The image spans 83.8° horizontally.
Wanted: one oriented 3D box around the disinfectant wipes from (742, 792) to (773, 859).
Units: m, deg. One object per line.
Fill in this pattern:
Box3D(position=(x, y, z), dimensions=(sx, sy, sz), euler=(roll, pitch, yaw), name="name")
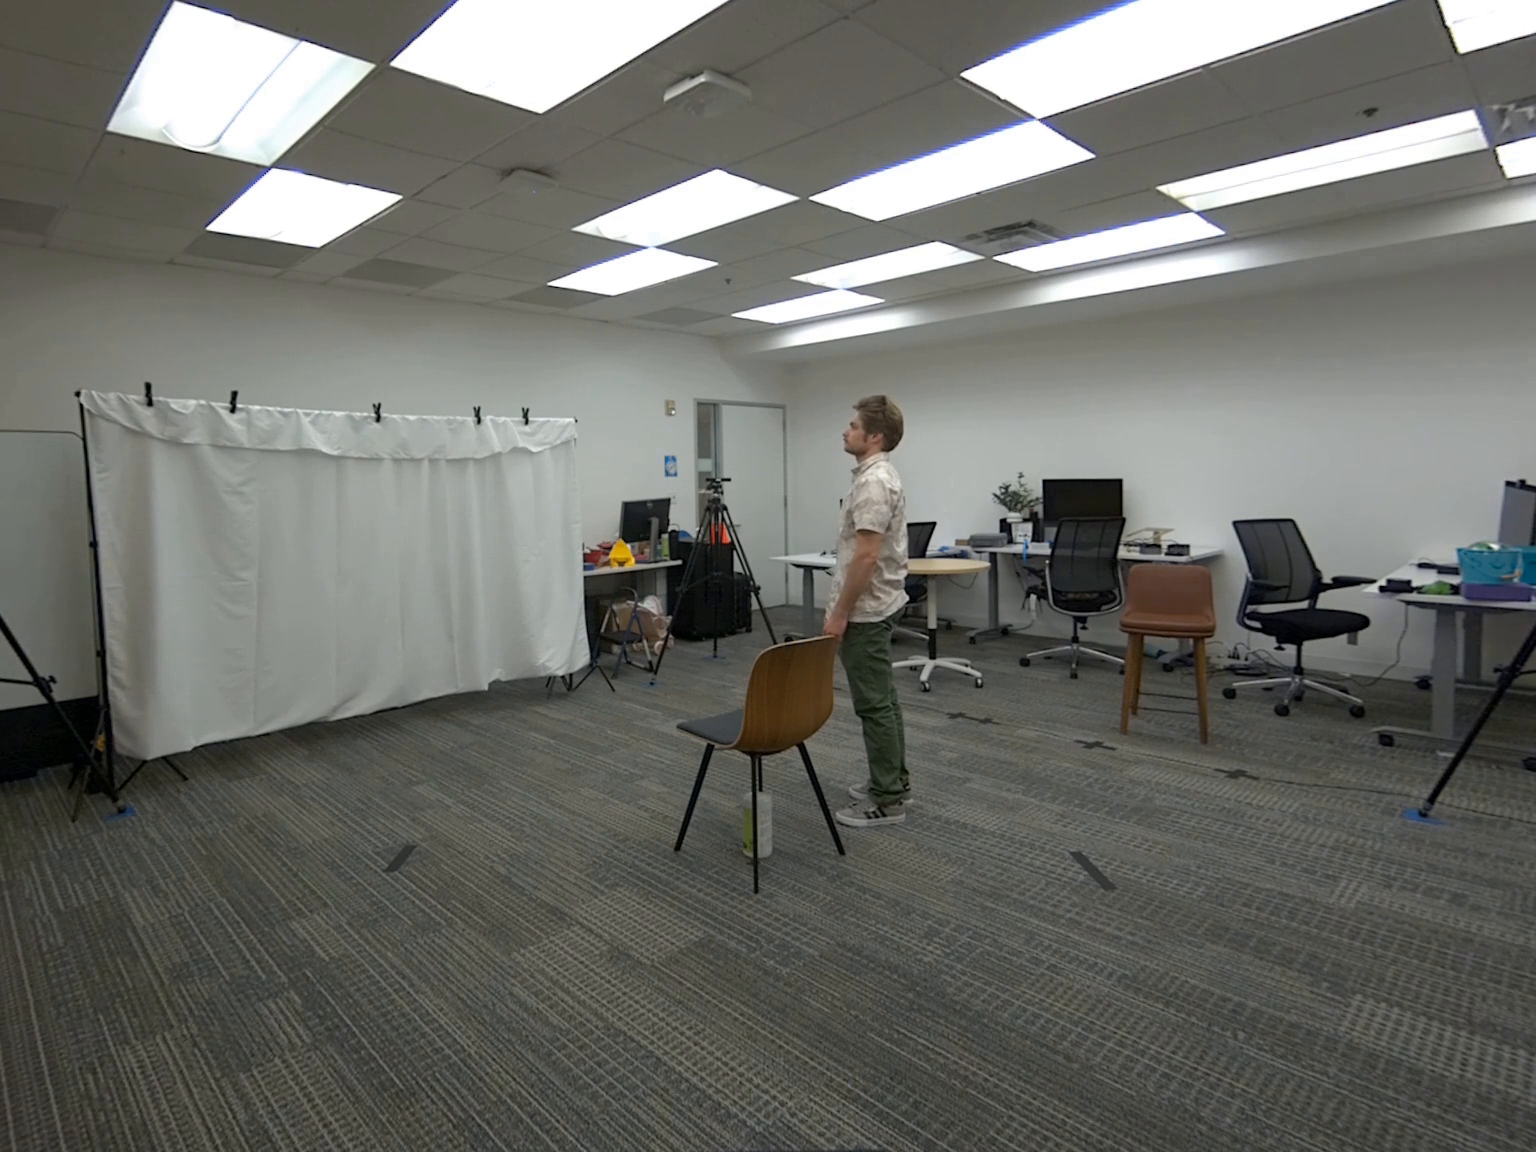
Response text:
Box3D(position=(-0.032, 0.936, 3.185), dimensions=(0.118, 0.217, 0.118), euler=(0, 4, -2), name="disinfectant wipes")
